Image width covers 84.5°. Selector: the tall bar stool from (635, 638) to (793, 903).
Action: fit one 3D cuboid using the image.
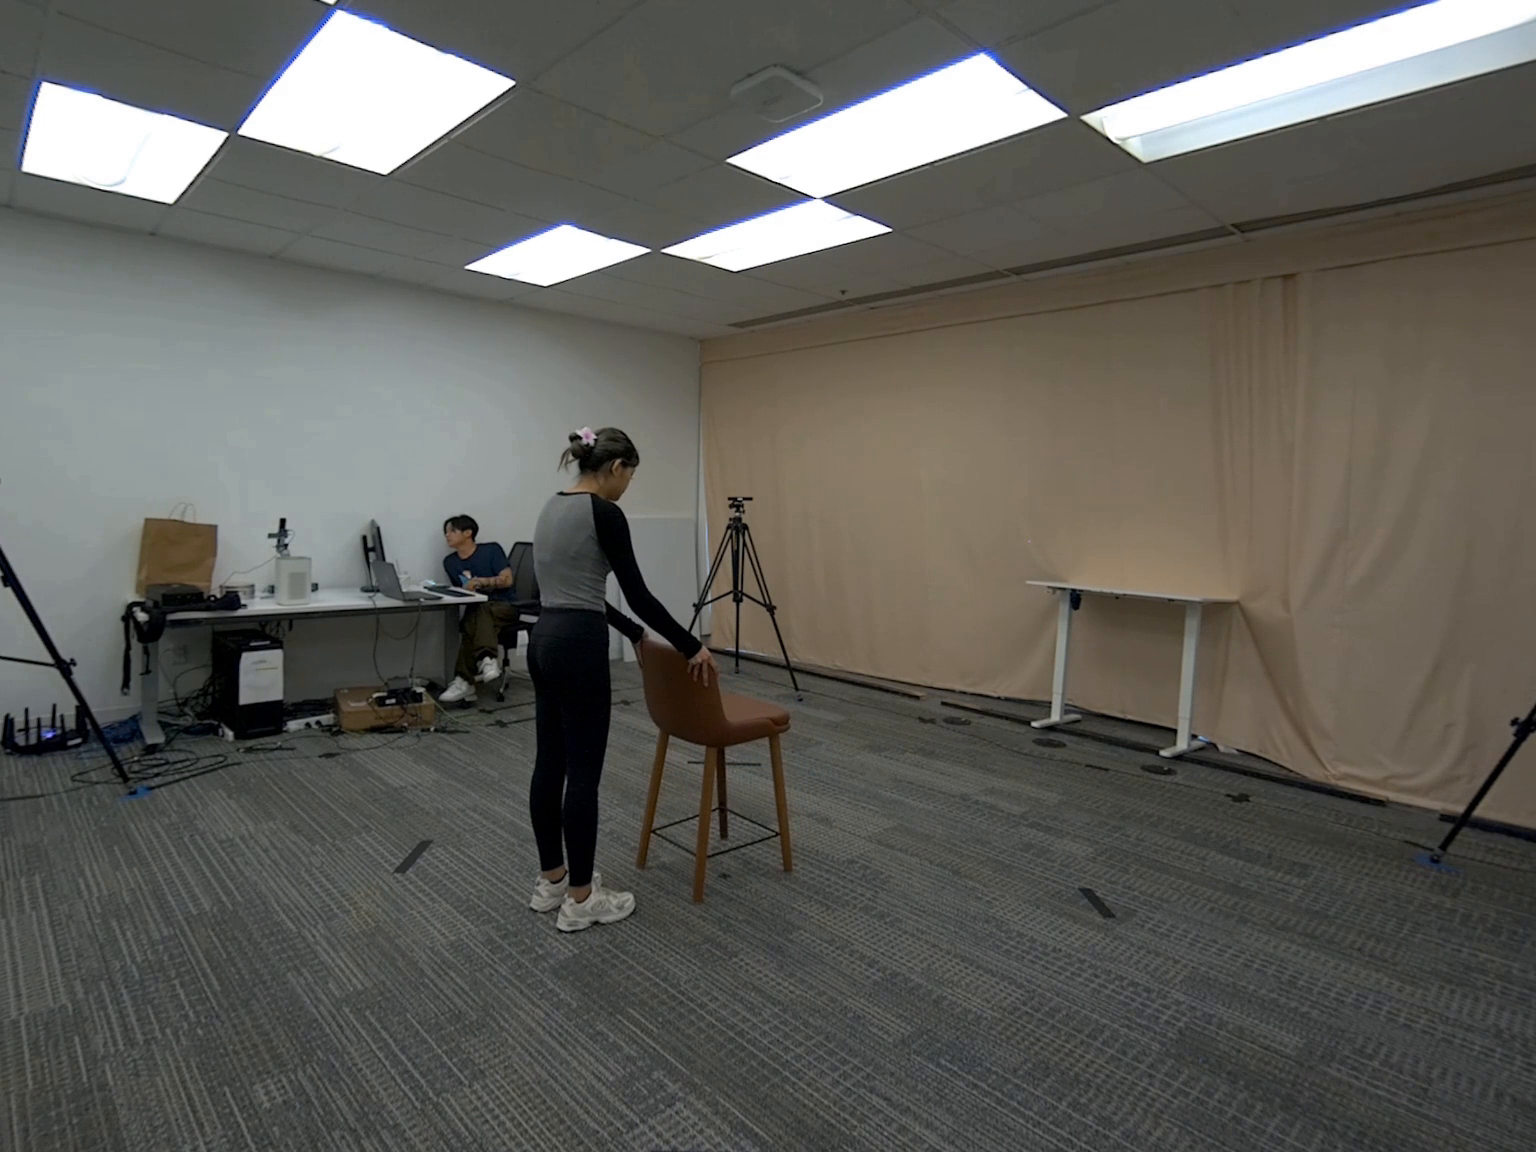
[{"bbox_3d":[-0.211,0.664,3.135,0.457,0.886,0.468,-5,7,-41],"label":"tall bar stool"}]
